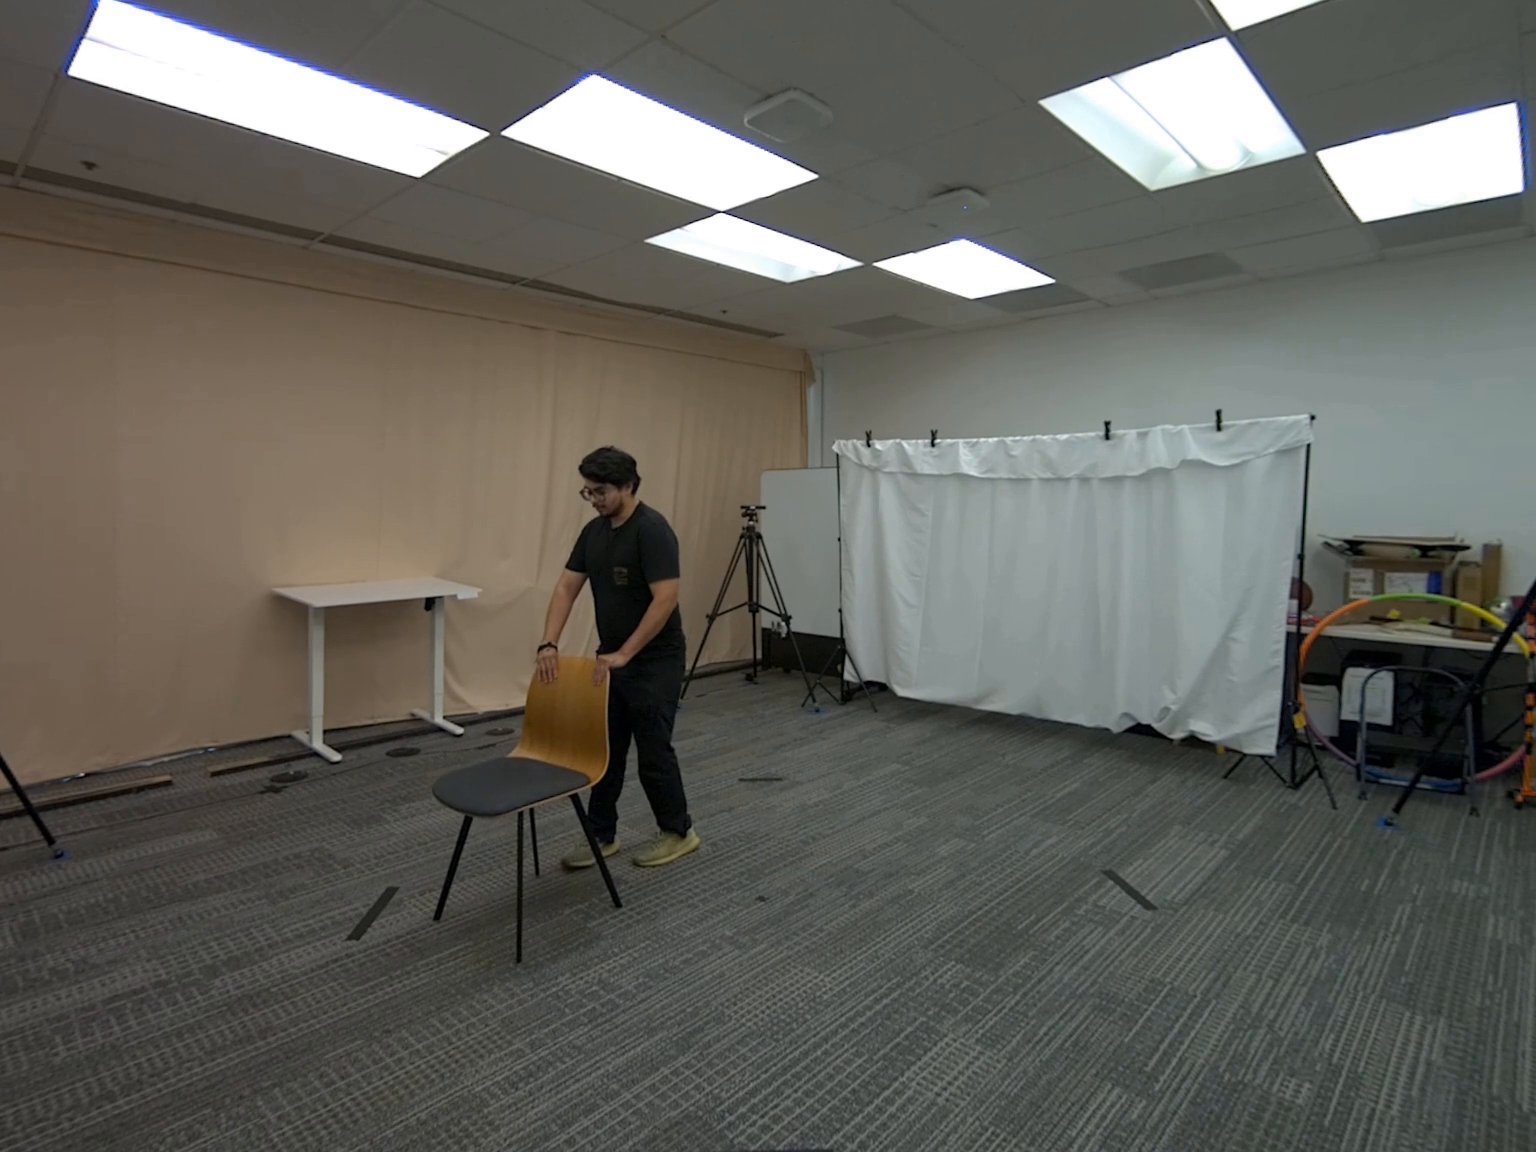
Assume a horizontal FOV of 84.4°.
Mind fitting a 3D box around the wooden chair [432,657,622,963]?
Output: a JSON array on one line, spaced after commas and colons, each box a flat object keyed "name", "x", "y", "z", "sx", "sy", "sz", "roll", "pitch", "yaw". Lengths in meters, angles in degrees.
[{"name": "wooden chair", "x": -0.819, "y": 0.732, "z": 2.852, "sx": 0.493, "sy": 0.877, "sz": 0.506, "roll": 2, "pitch": 0, "yaw": 36}]
